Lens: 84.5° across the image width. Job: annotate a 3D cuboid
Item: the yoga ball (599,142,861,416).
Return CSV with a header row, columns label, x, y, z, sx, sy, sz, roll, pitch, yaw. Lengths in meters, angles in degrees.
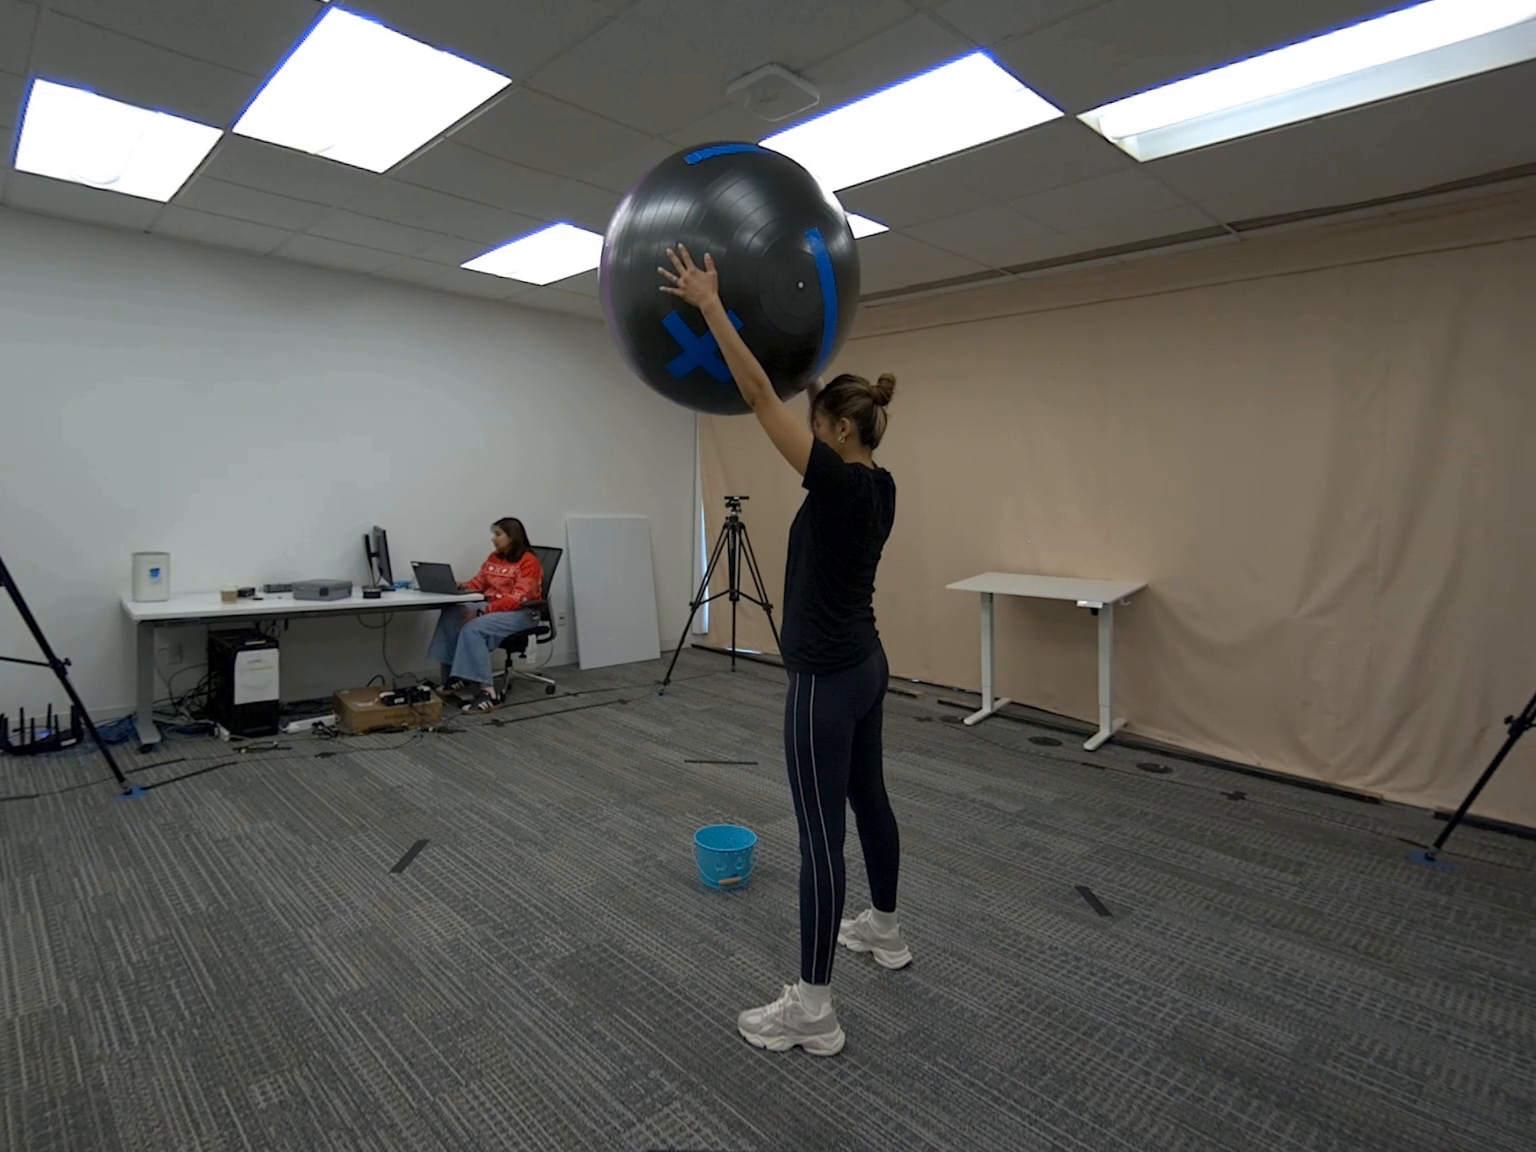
label,x,y,z,sx,sy,sz,roll,pitch,yaw
yoga ball,-0.116,-0.841,2.448,0.757,0.756,0.761,1,4,-1
